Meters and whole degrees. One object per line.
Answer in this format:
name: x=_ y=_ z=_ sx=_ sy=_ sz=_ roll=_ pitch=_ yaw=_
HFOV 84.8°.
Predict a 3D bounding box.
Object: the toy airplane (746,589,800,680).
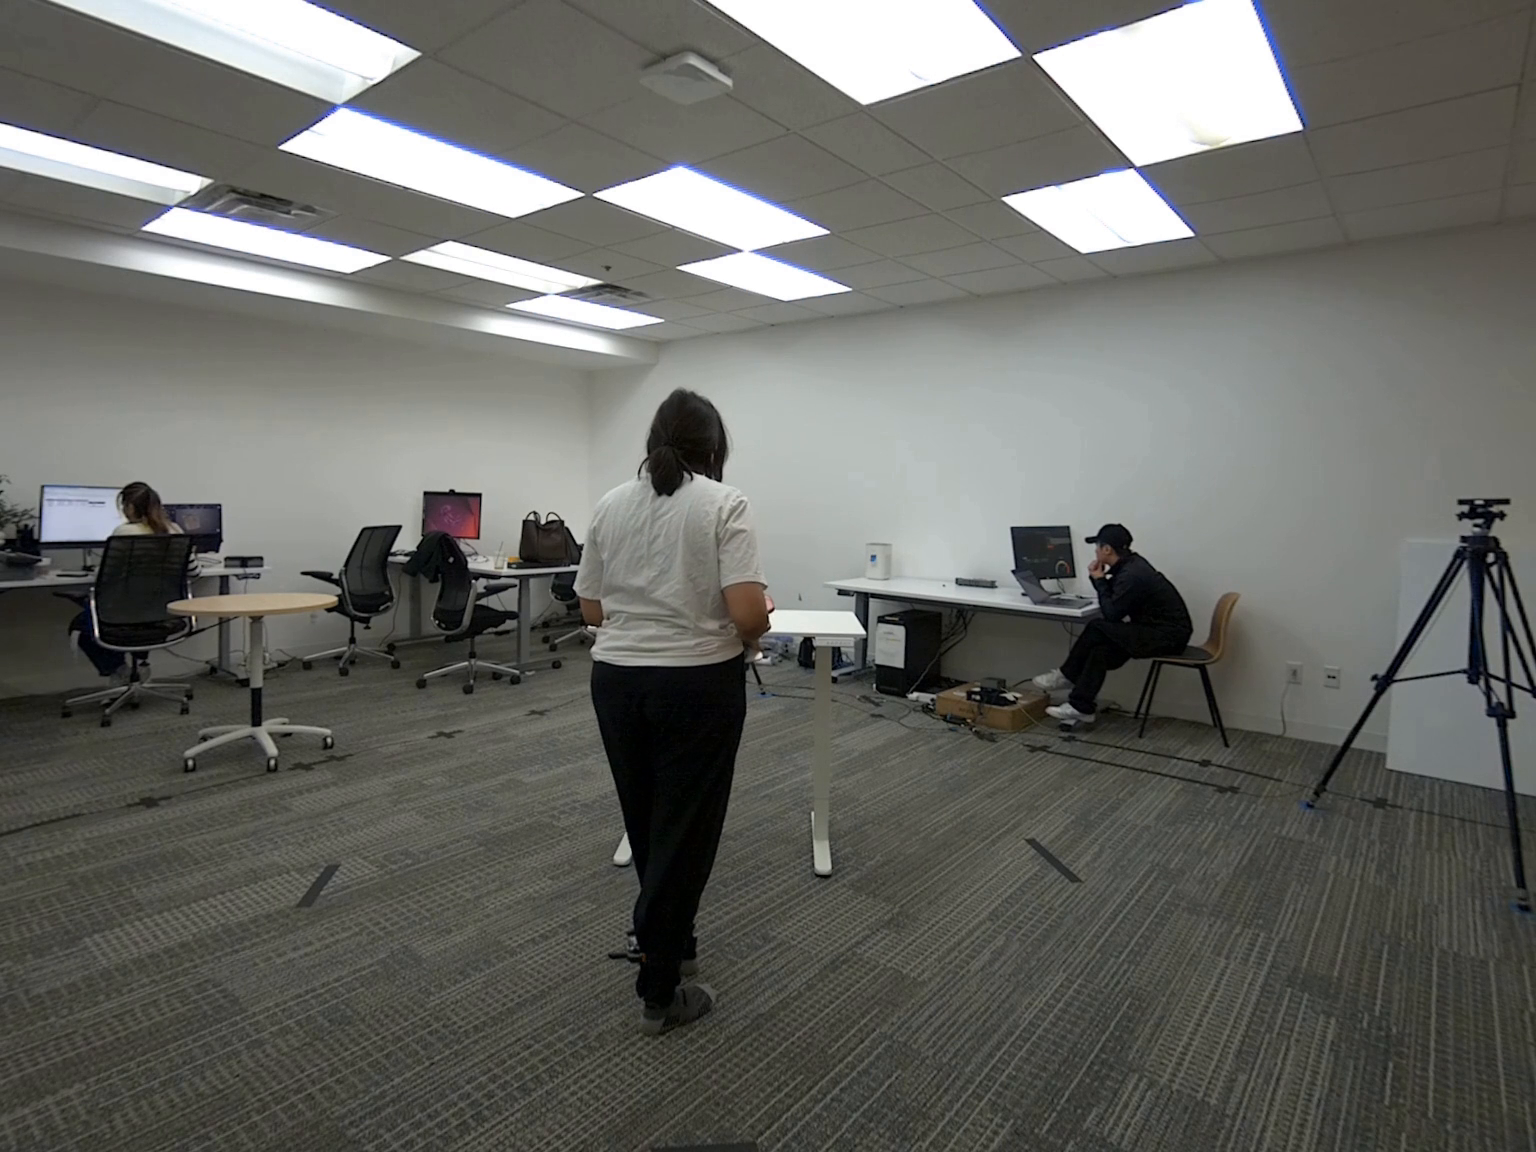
toy airplane: x=-0.097 y=0.146 z=2.426 sx=0.246 sy=0.153 sz=0.270 roll=-21 pitch=35 yaw=-39
